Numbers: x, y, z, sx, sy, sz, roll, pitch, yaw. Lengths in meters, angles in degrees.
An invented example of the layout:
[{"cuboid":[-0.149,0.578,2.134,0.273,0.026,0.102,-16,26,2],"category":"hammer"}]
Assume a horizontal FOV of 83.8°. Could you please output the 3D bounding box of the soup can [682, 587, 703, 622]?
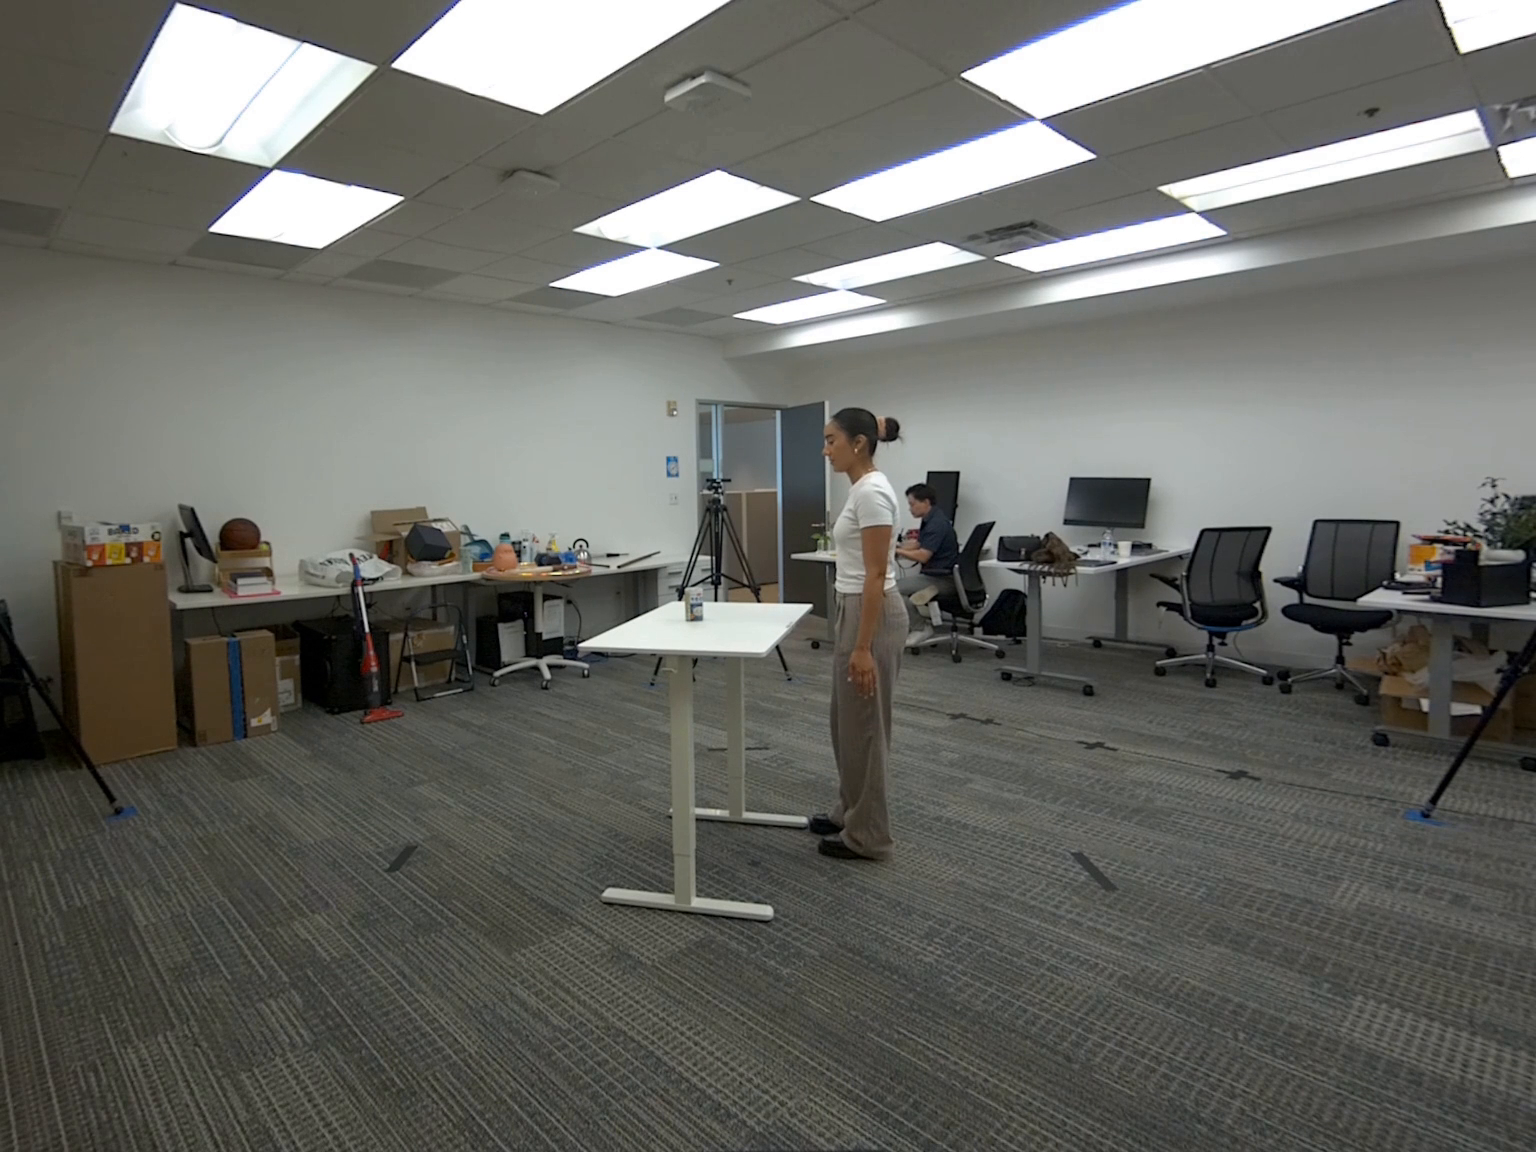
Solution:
[{"cuboid":[-0.265,0.102,3.134,0.067,0.120,0.068,1,10,-2],"category":"soup can"}]
